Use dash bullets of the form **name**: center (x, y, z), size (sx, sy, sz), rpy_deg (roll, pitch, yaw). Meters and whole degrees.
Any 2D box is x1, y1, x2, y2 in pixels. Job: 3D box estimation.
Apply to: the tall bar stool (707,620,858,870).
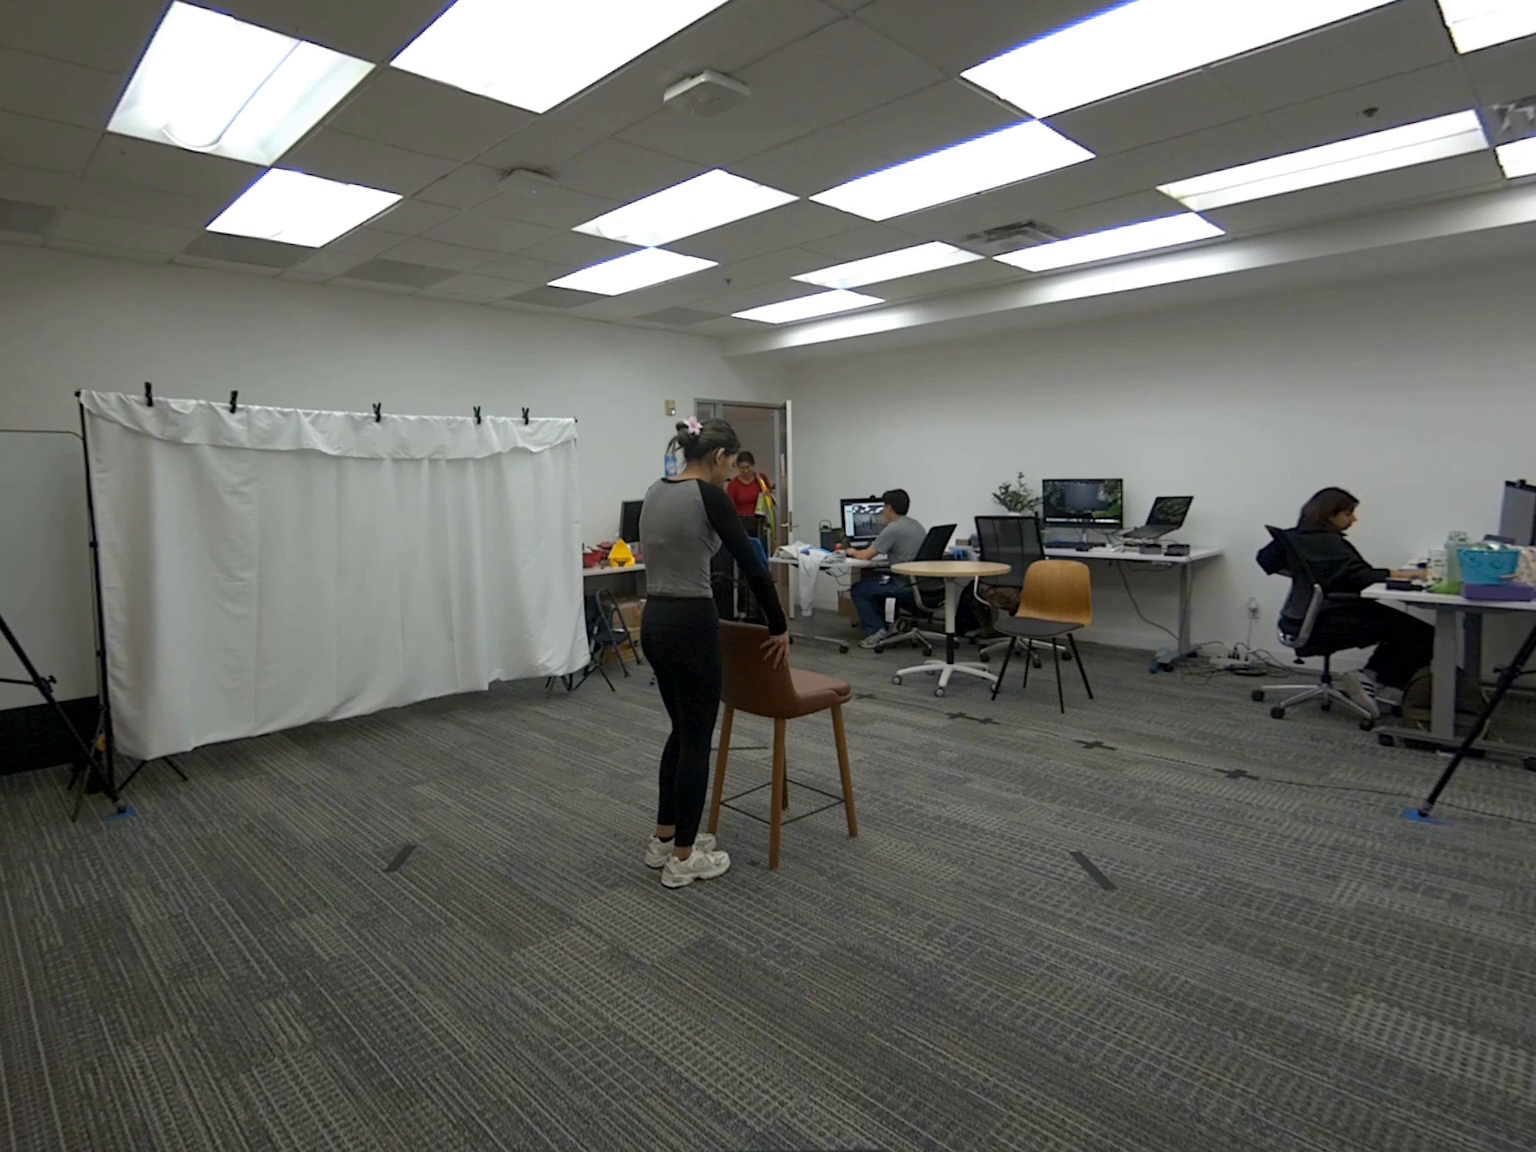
- **tall bar stool**: center (0.039, 0.582, 3.302), size (0.456, 0.885, 0.471), rpy_deg (-7, 8, -42)
